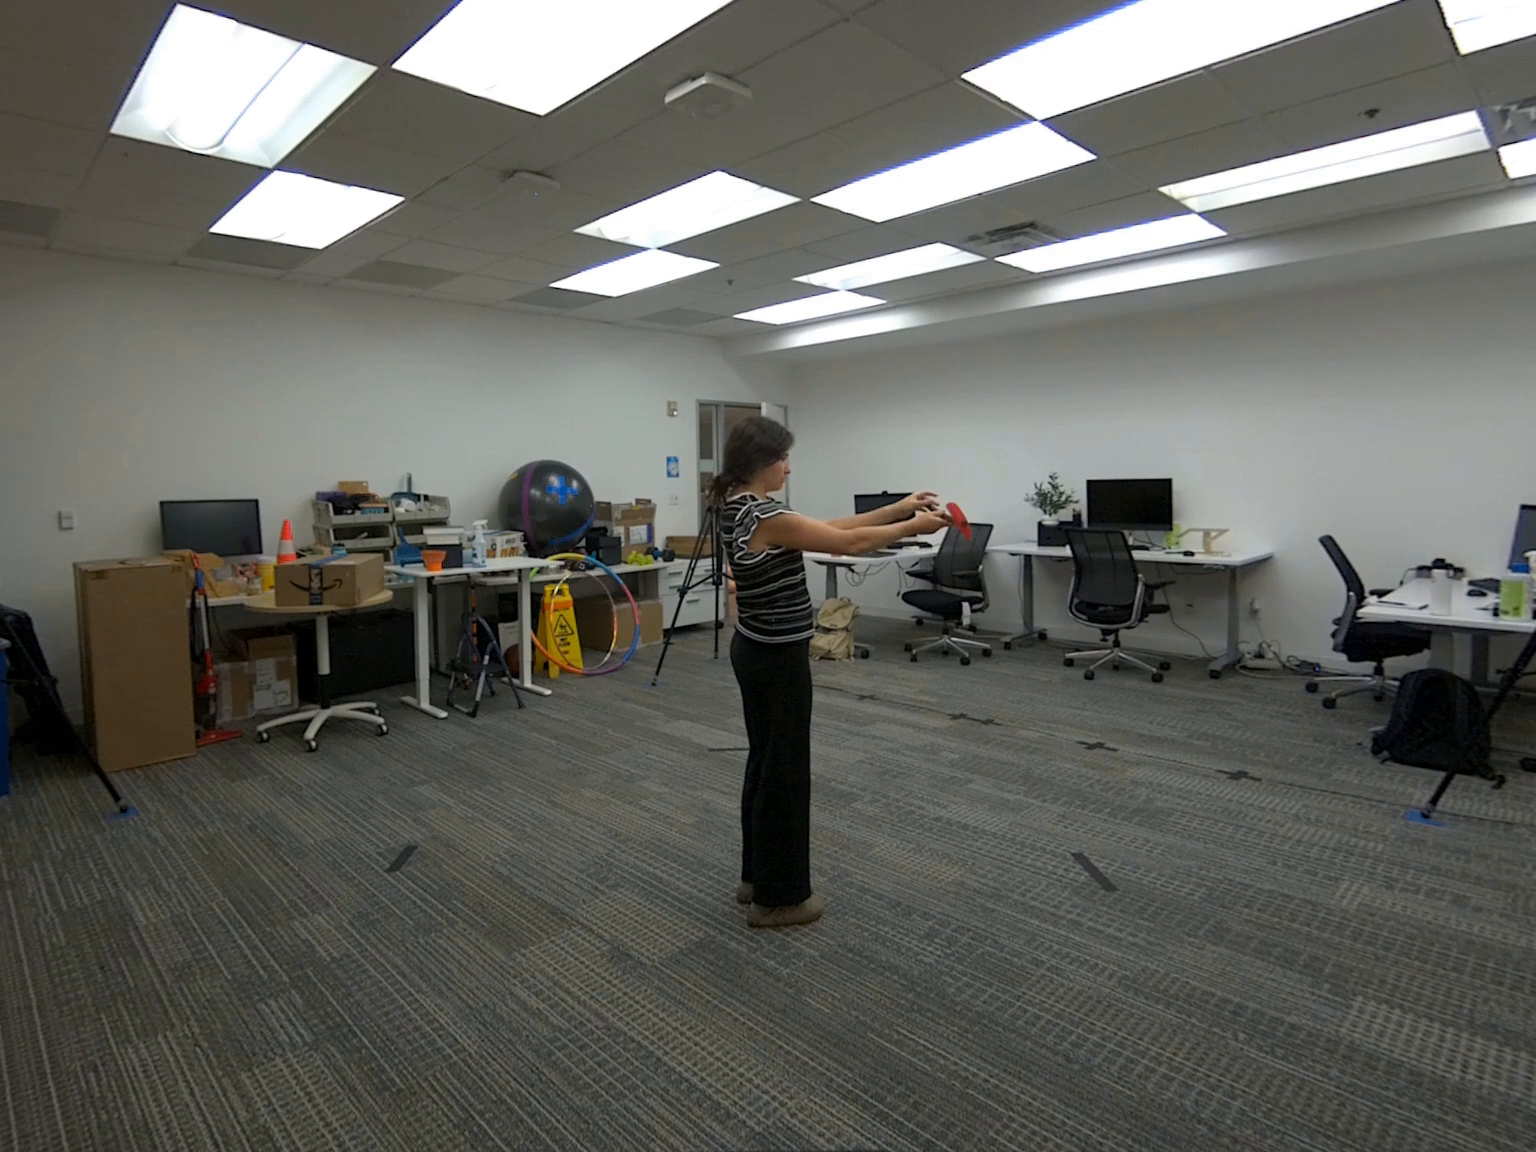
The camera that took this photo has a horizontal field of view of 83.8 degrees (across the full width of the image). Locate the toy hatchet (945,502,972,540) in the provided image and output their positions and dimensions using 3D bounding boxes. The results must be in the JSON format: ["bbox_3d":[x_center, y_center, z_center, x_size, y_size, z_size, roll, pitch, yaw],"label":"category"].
[{"bbox_3d":[0.546,-0.212,2.697,0.029,0.126,0.280,-33,34,-1],"label":"toy hatchet"}]
